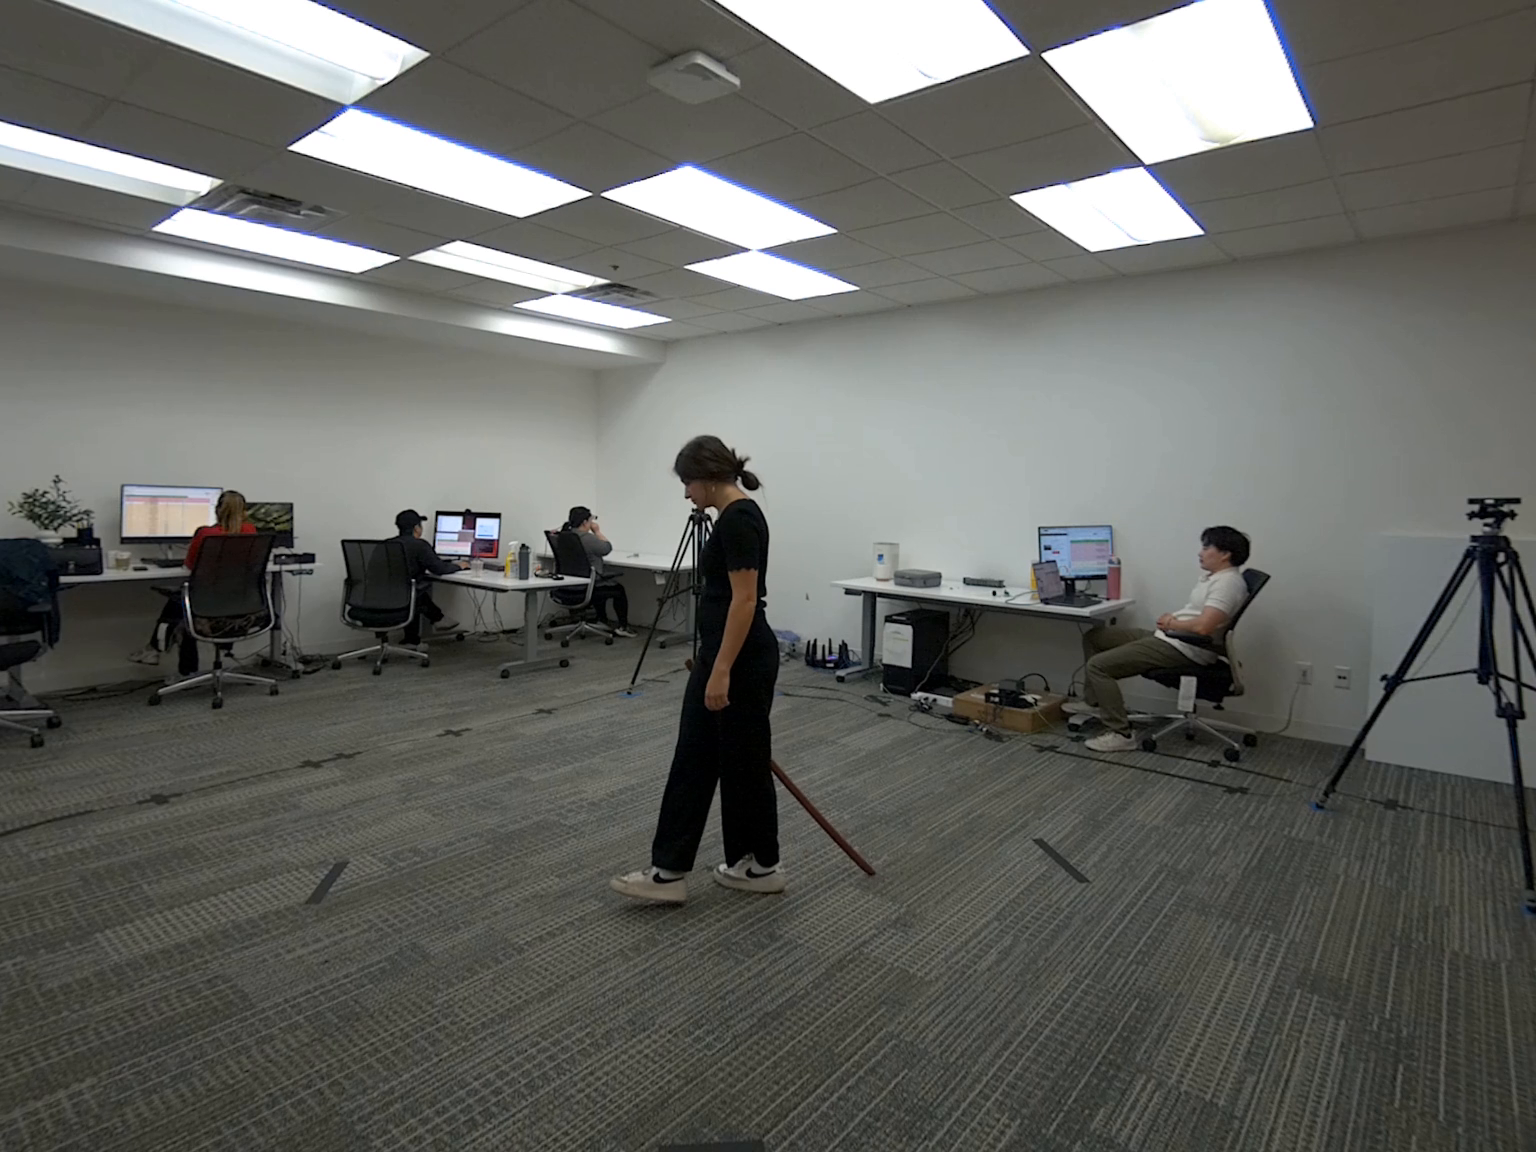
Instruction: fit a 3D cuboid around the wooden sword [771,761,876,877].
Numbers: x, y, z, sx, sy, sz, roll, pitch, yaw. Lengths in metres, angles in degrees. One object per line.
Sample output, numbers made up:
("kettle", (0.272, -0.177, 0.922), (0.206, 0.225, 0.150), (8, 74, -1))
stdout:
("wooden sword", (0.031, 0.702, 3.129), (0.024, 1.034, 0.051), (-45, -7, 24))
